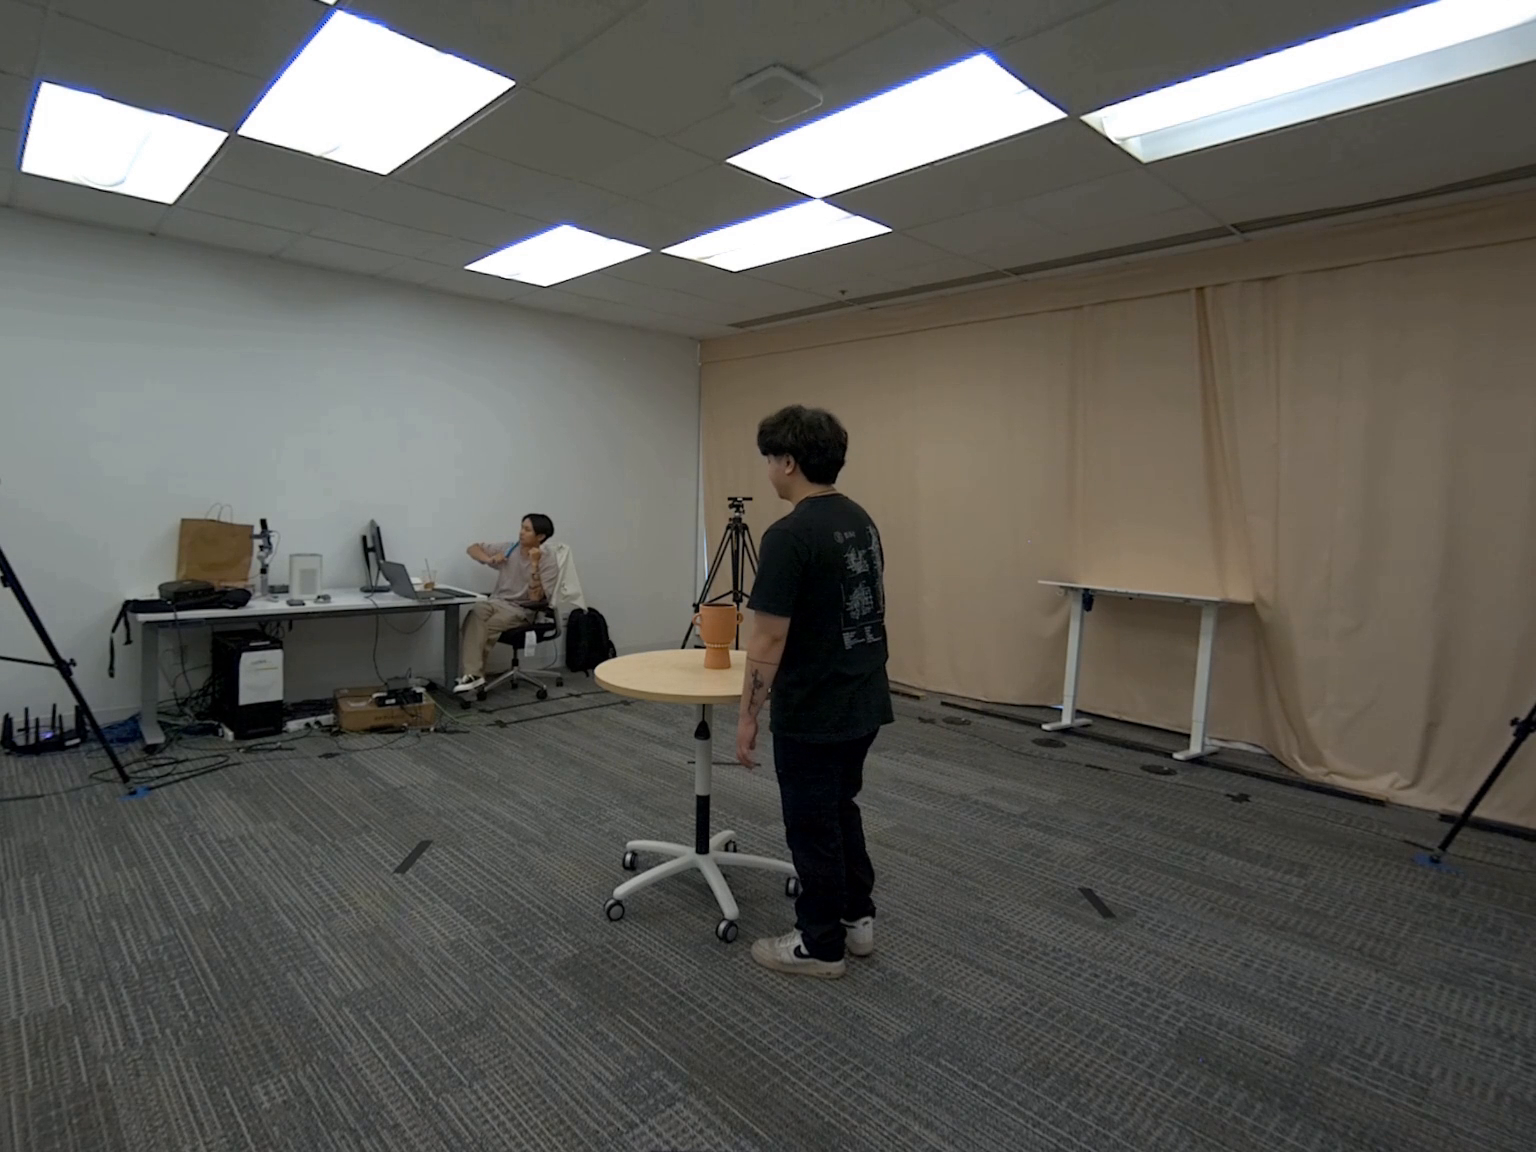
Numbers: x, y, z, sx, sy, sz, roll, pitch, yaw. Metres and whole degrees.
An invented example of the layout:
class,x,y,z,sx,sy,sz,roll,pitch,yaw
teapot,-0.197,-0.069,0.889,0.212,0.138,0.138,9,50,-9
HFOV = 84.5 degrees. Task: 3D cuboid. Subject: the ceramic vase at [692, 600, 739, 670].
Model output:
class,x,y,z,sx,sy,sz,roll,pitch,yaw
ceramic vase,-0.184,0.214,2.987,0.132,0.219,0.162,-1,5,-24
